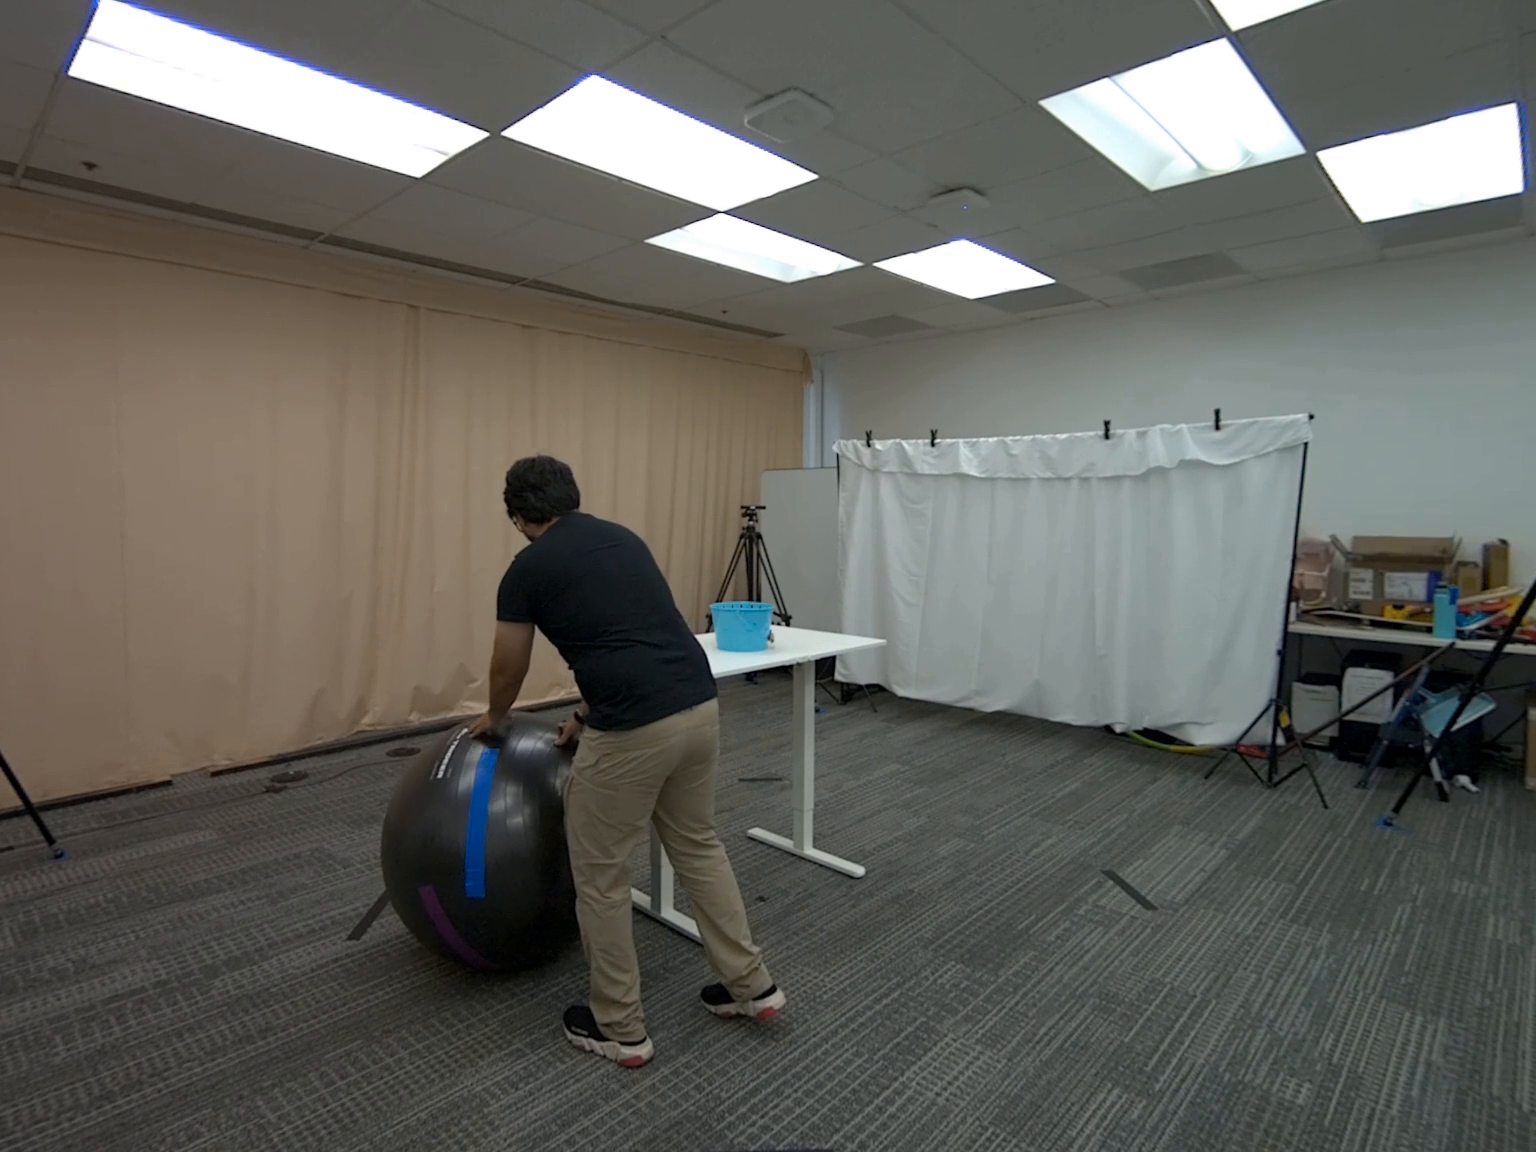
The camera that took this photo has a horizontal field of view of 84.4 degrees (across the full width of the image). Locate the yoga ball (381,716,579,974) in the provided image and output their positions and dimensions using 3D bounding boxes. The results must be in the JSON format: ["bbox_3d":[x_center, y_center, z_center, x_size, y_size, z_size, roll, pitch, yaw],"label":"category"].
[{"bbox_3d":[-0.822,0.818,2.638,0.757,0.756,0.760,0,4,-2],"label":"yoga ball"}]
